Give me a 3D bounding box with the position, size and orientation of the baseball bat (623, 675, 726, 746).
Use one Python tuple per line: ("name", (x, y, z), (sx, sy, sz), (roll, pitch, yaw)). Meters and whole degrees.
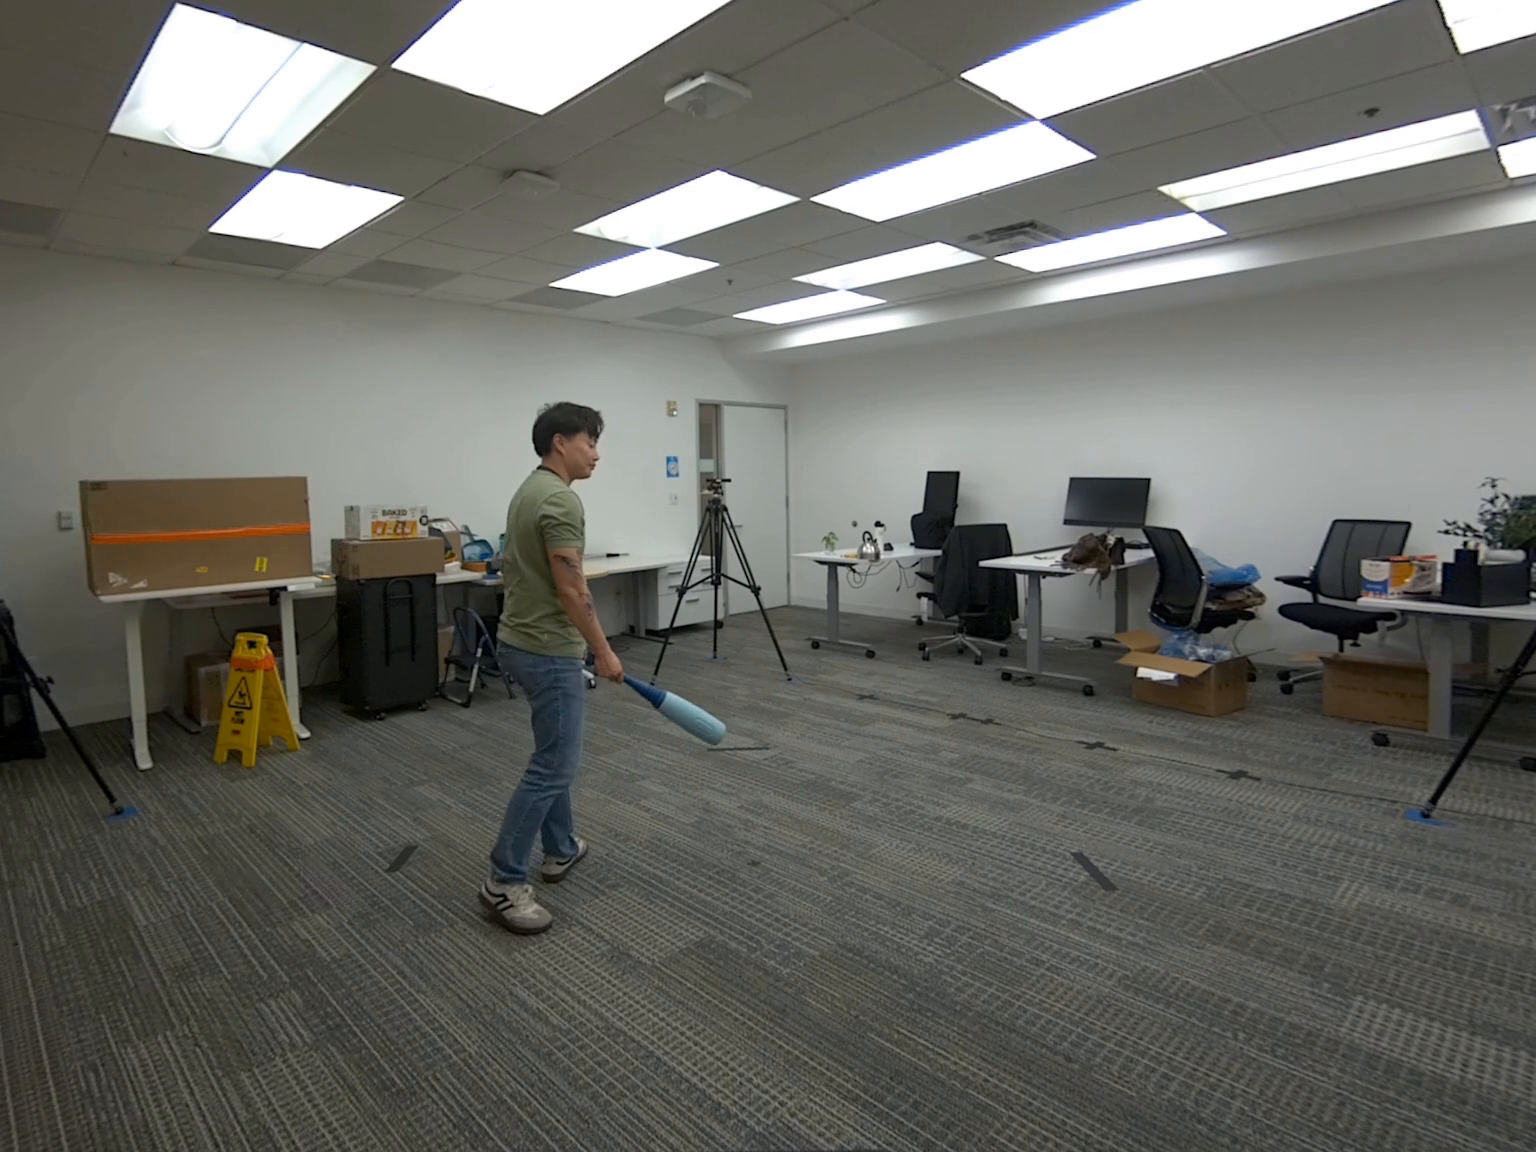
("baseball bat", (-0.380, 0.407, 2.886), (0.535, 0.089, 0.090), (32, -3, -11))
